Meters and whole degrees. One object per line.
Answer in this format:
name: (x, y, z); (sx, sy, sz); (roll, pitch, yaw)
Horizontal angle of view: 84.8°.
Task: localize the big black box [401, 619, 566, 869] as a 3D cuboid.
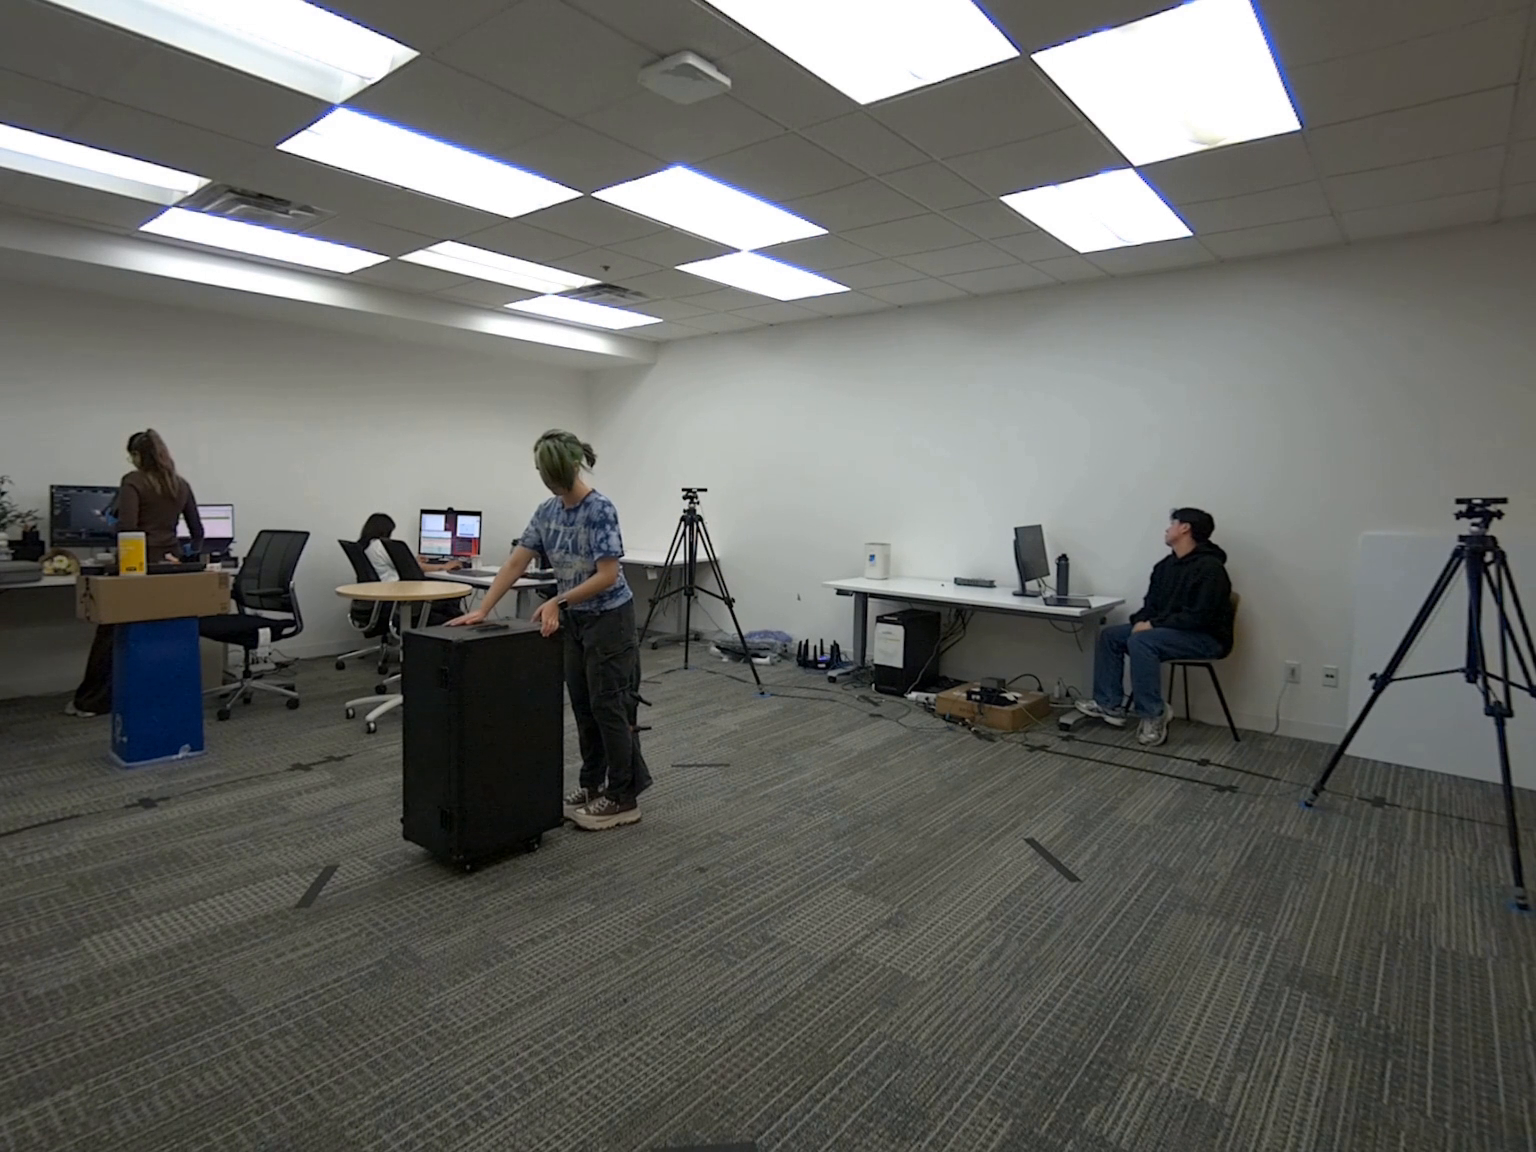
big black box: (-1.107, 0.623, 3.223); (0.409, 0.860, 0.506); (1, 2, 37)
